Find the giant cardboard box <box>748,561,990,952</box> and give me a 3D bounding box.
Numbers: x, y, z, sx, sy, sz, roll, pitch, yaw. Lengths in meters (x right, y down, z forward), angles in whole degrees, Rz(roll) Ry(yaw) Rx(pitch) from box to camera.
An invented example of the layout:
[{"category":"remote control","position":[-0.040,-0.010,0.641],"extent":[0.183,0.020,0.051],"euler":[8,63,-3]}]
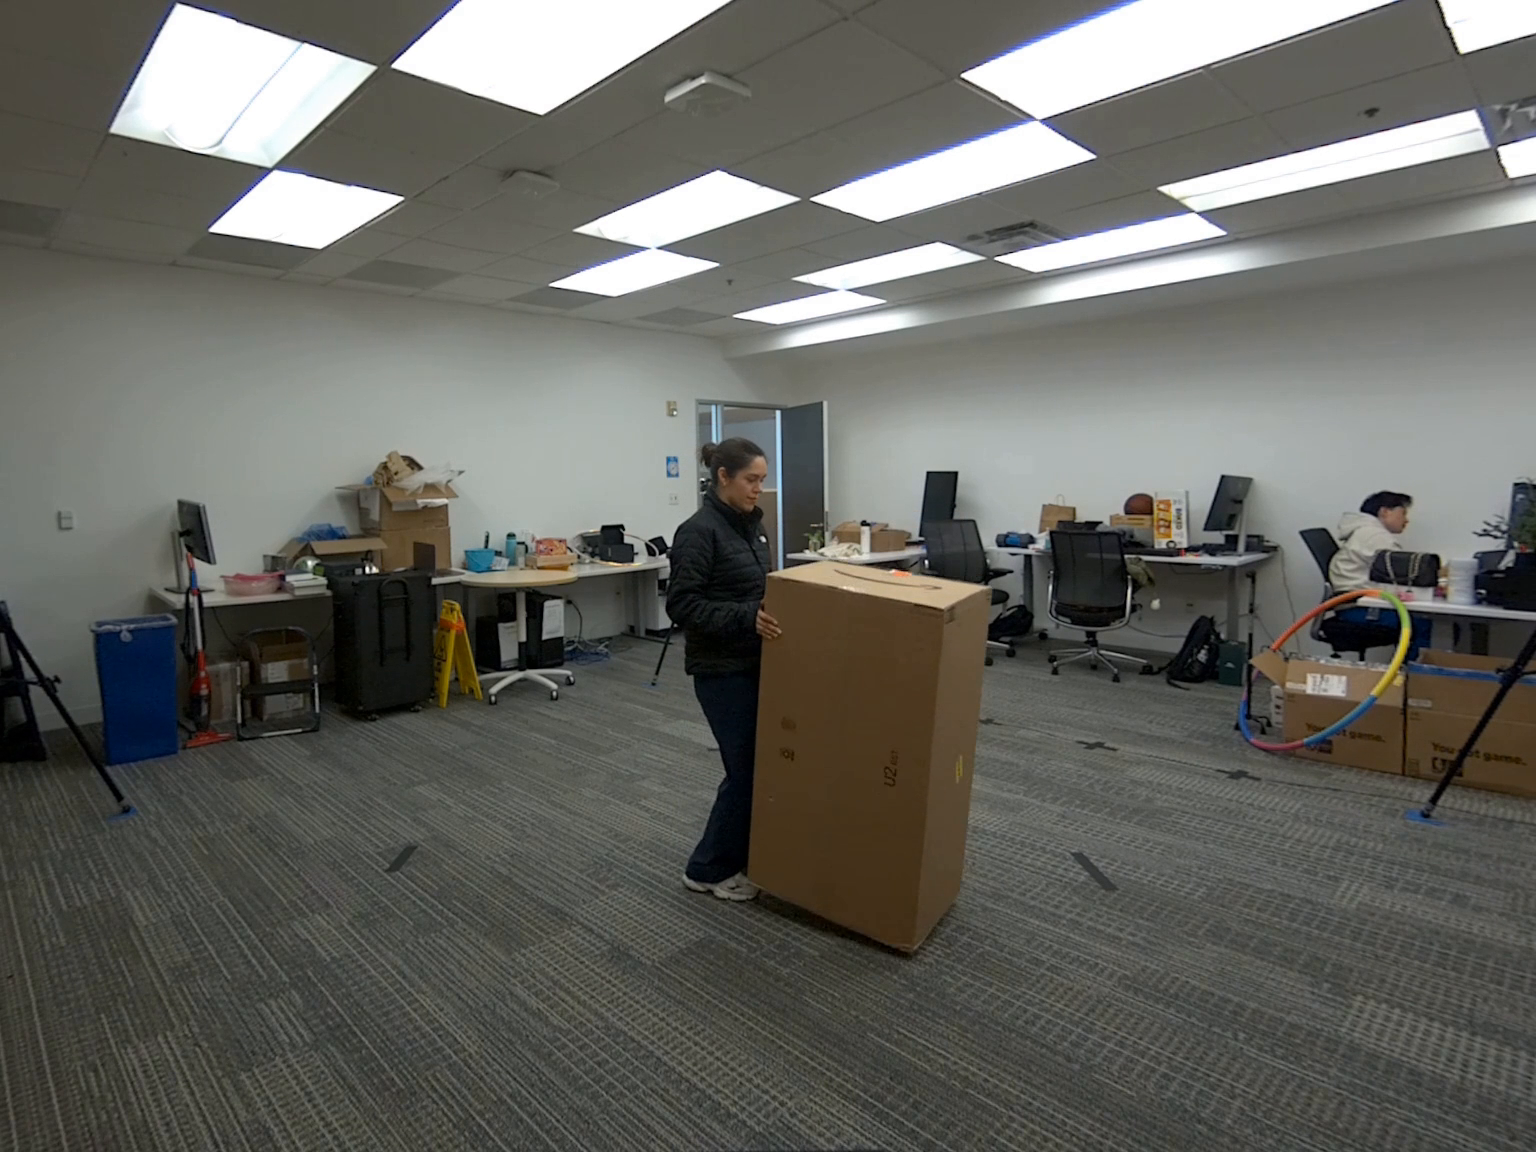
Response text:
[{"category":"giant cardboard box","position":[0.321,0.515,2.713],"extent":[0.595,1.018,0.416],"euler":[9,10,34]}]
